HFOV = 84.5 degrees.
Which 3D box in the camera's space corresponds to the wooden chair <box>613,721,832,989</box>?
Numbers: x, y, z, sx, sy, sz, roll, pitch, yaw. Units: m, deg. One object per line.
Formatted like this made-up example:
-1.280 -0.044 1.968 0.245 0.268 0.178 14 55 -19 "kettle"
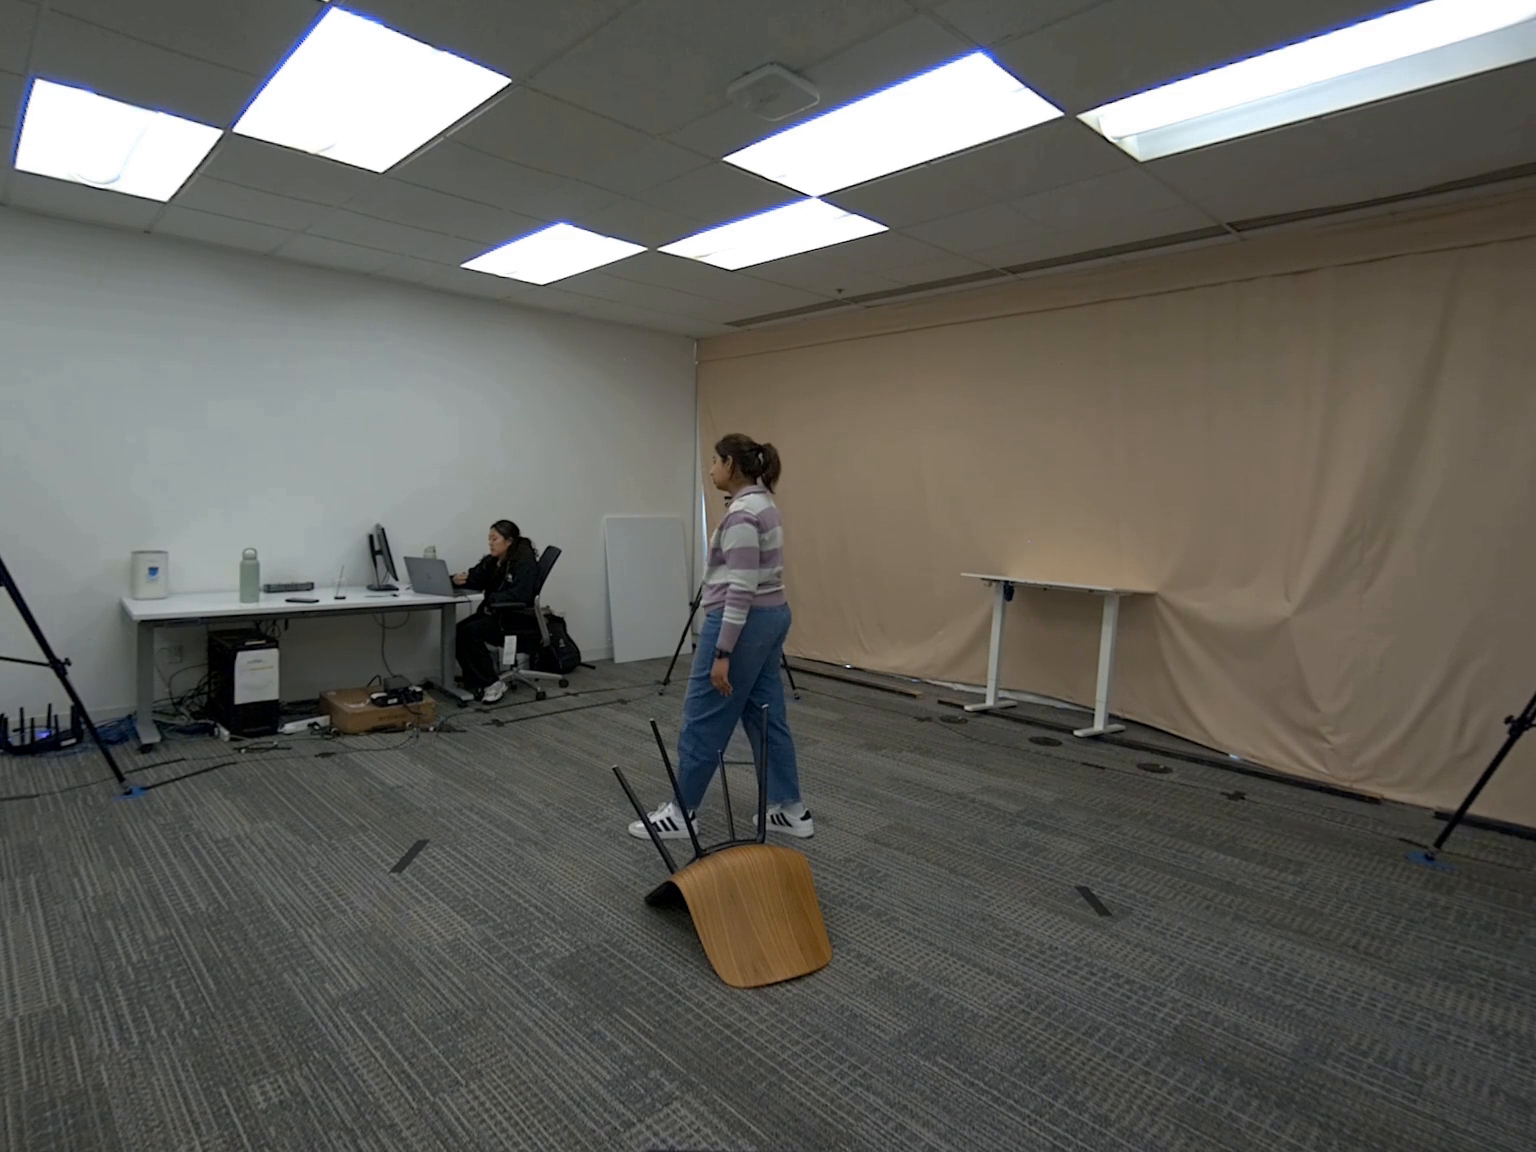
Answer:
-0.172 0.958 2.843 0.468 0.900 0.520 -1 -36 -30 "wooden chair"
